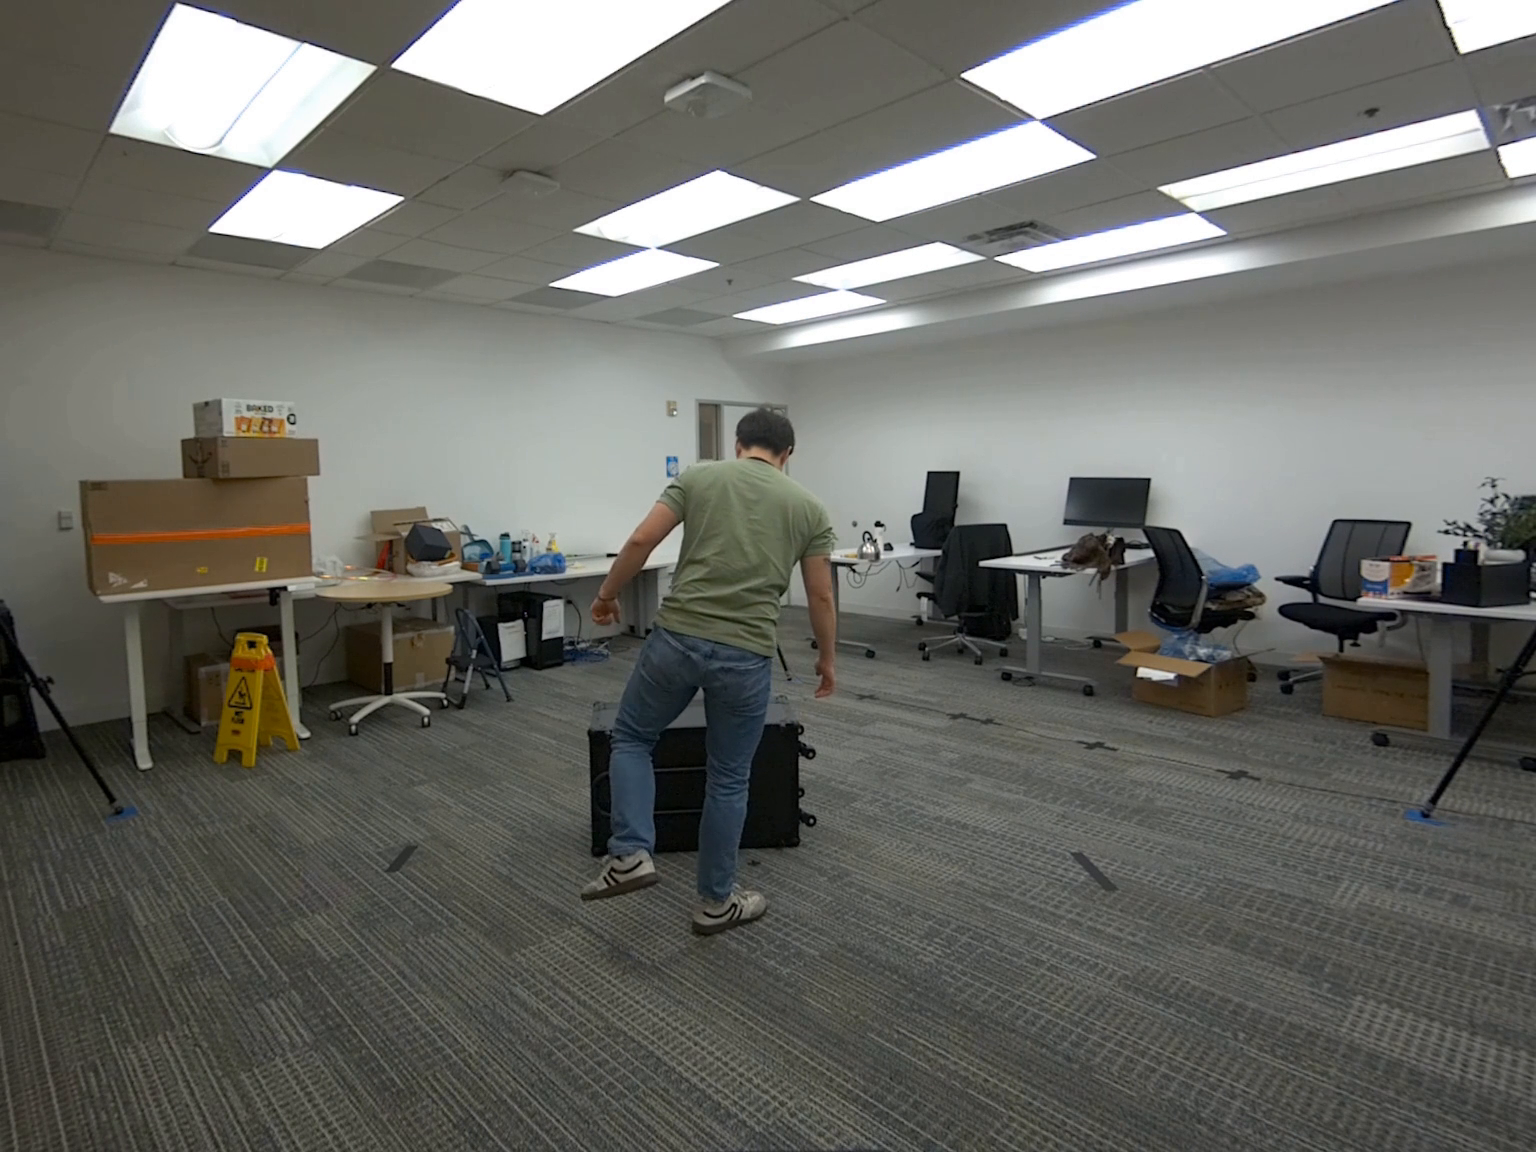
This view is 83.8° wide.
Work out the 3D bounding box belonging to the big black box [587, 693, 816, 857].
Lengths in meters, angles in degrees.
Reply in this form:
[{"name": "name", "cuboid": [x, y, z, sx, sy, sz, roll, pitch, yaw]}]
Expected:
[{"name": "big black box", "cuboid": [-0.259, 0.763, 3.342, 0.857, 0.518, 0.401, -2, 7, -5]}]
